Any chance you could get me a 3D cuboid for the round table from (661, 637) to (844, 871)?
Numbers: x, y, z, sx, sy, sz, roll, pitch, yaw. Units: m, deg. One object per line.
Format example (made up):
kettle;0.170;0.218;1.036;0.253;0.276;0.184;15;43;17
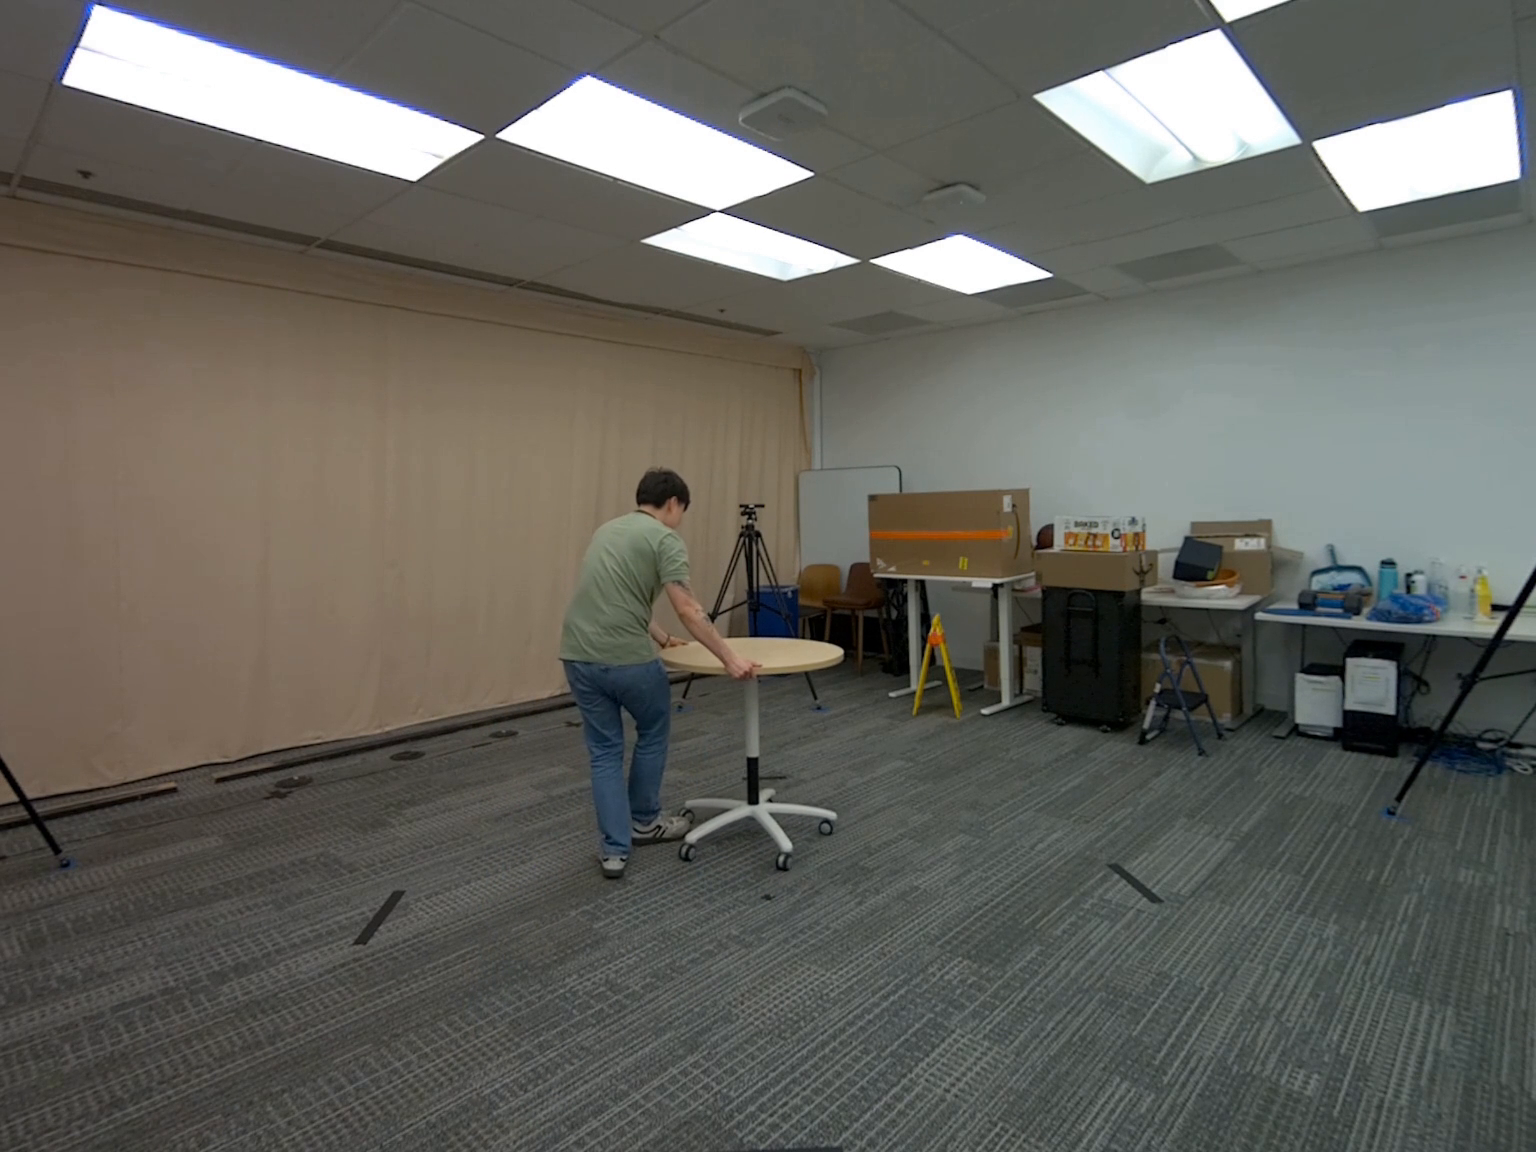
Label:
round table;-0.065;0.706;3.507;0.763;0.792;0.766;-1;3;-2
